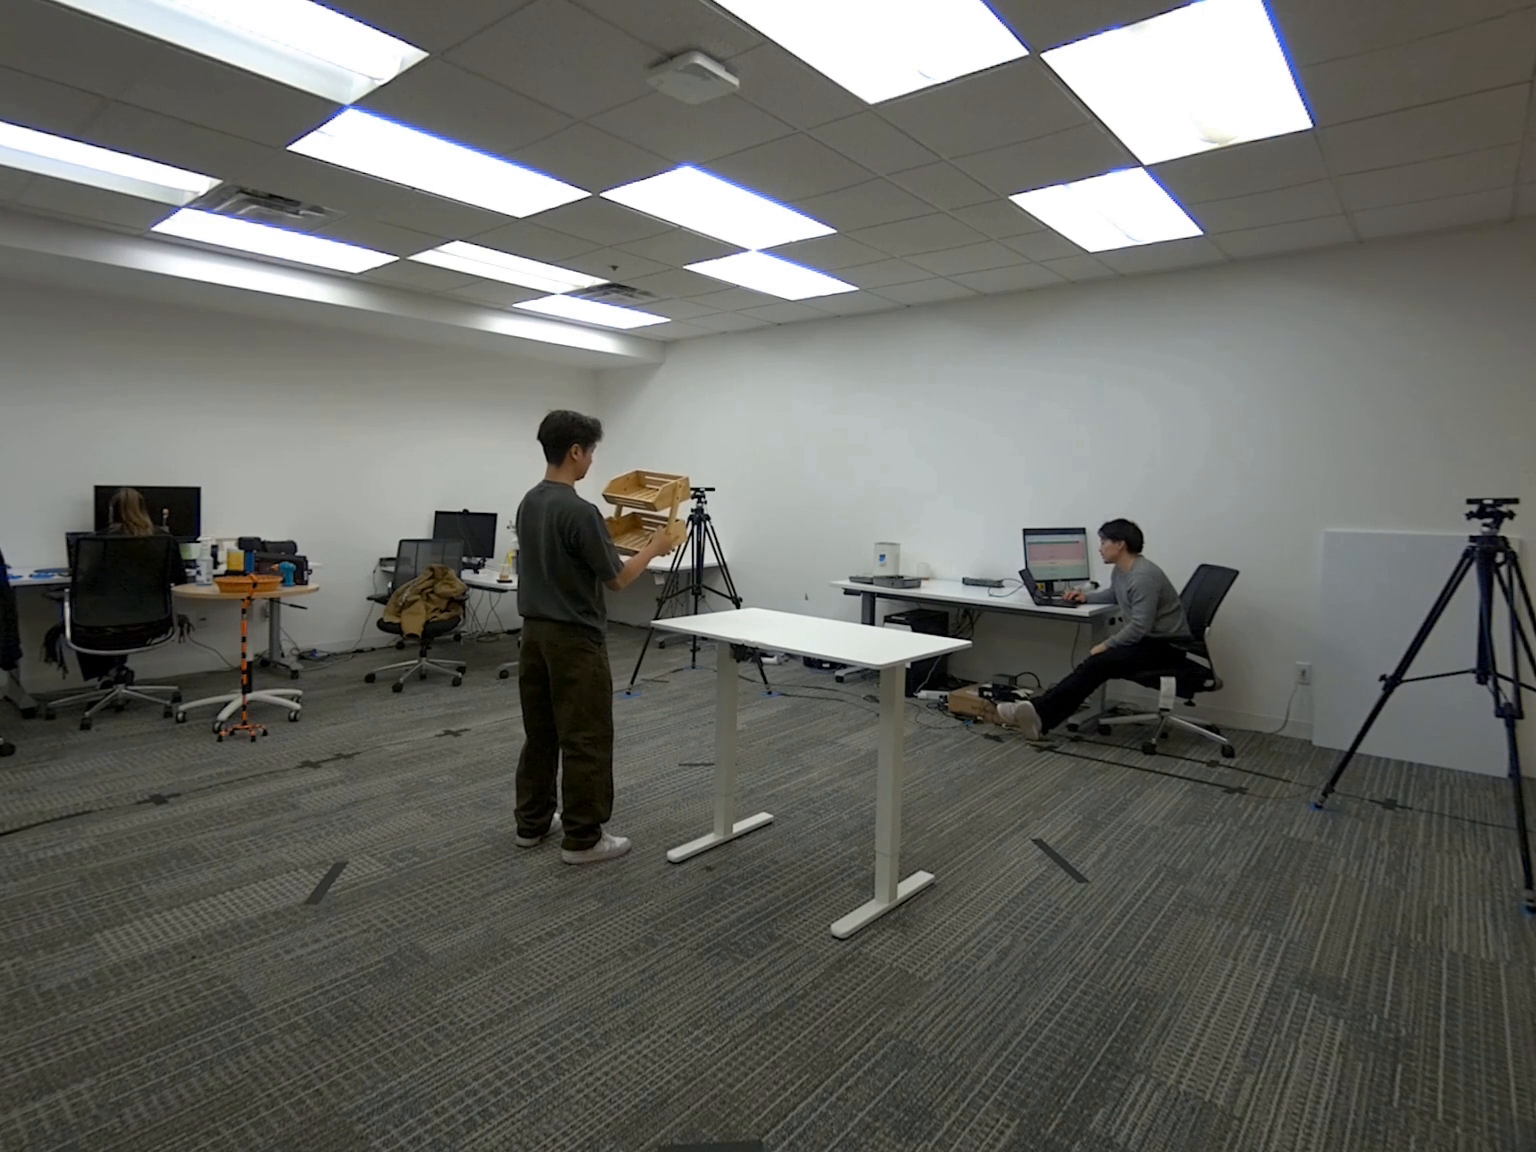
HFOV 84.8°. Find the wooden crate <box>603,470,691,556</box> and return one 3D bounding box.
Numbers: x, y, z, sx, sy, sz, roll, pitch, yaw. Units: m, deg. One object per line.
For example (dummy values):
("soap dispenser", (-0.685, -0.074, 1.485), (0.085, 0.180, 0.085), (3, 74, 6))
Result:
("wooden crate", (-0.529, -0.258, 3.438), (0.336, 0.268, 0.297), (12, 27, 38))
